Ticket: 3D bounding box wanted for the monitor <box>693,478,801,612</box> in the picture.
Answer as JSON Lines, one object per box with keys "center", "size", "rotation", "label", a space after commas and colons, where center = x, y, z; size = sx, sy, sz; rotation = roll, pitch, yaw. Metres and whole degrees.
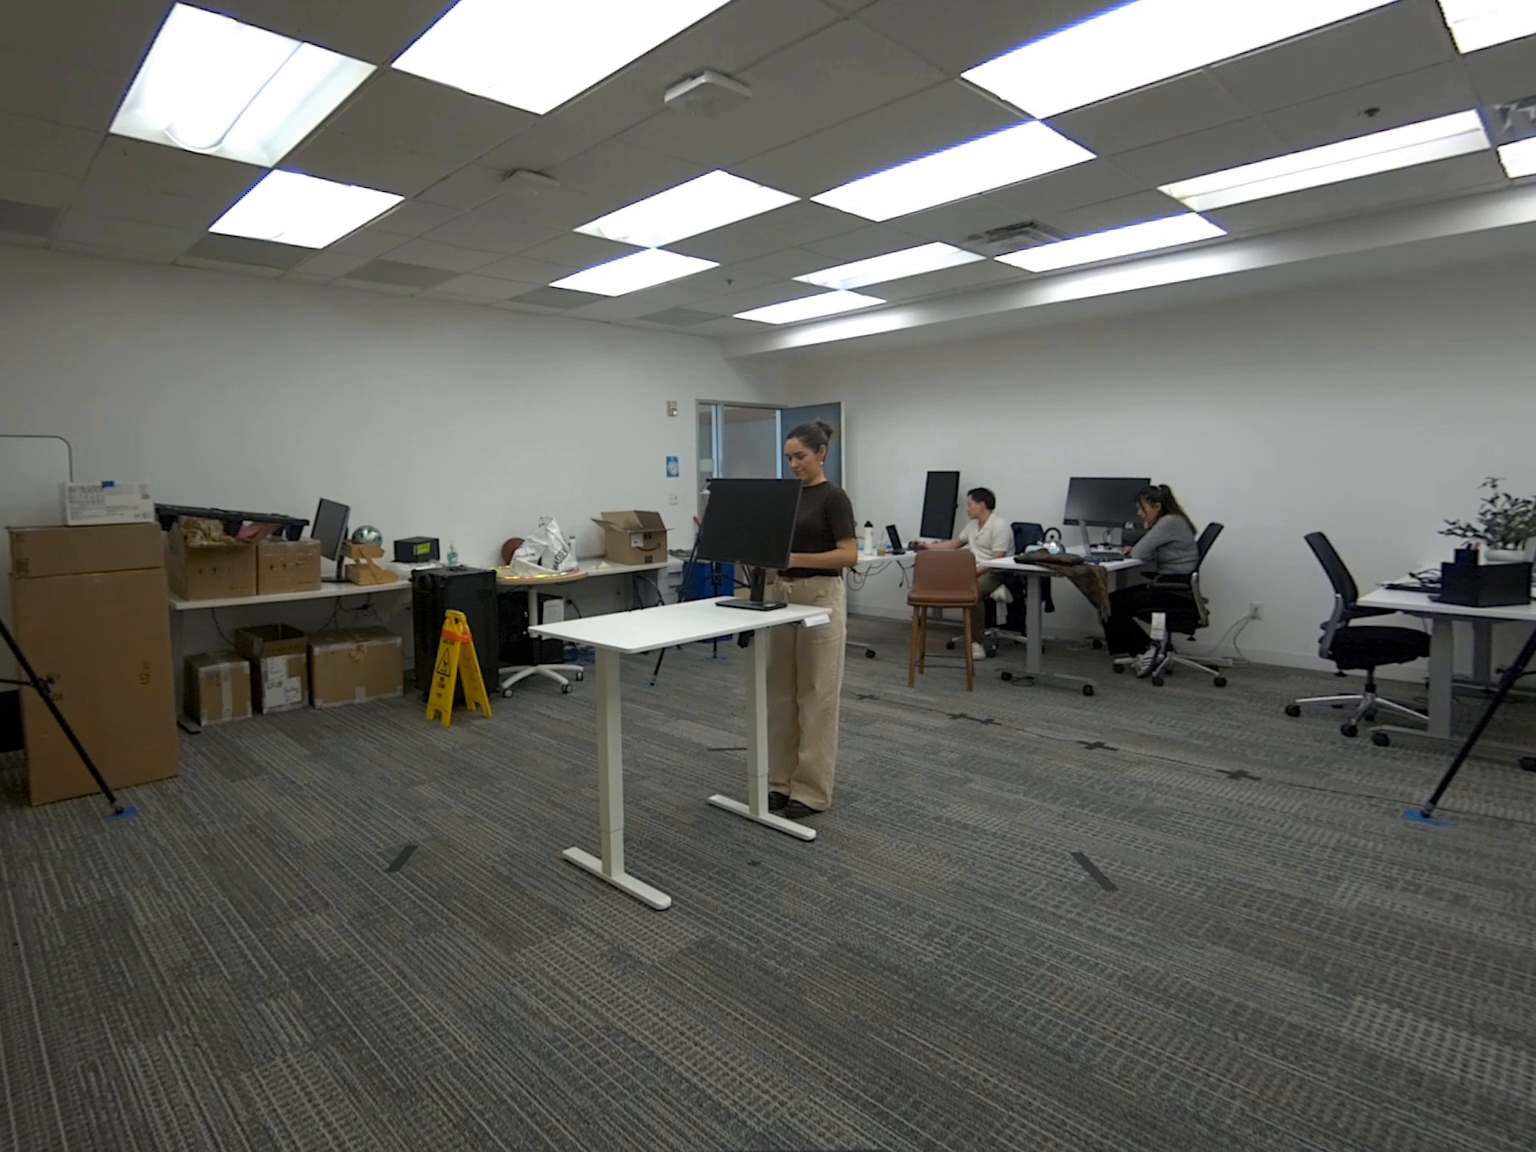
{"center": [-0.063, -0.131, 3.438], "size": [0.182, 0.521, 0.556], "rotation": [-2, 5, -44], "label": "monitor"}
